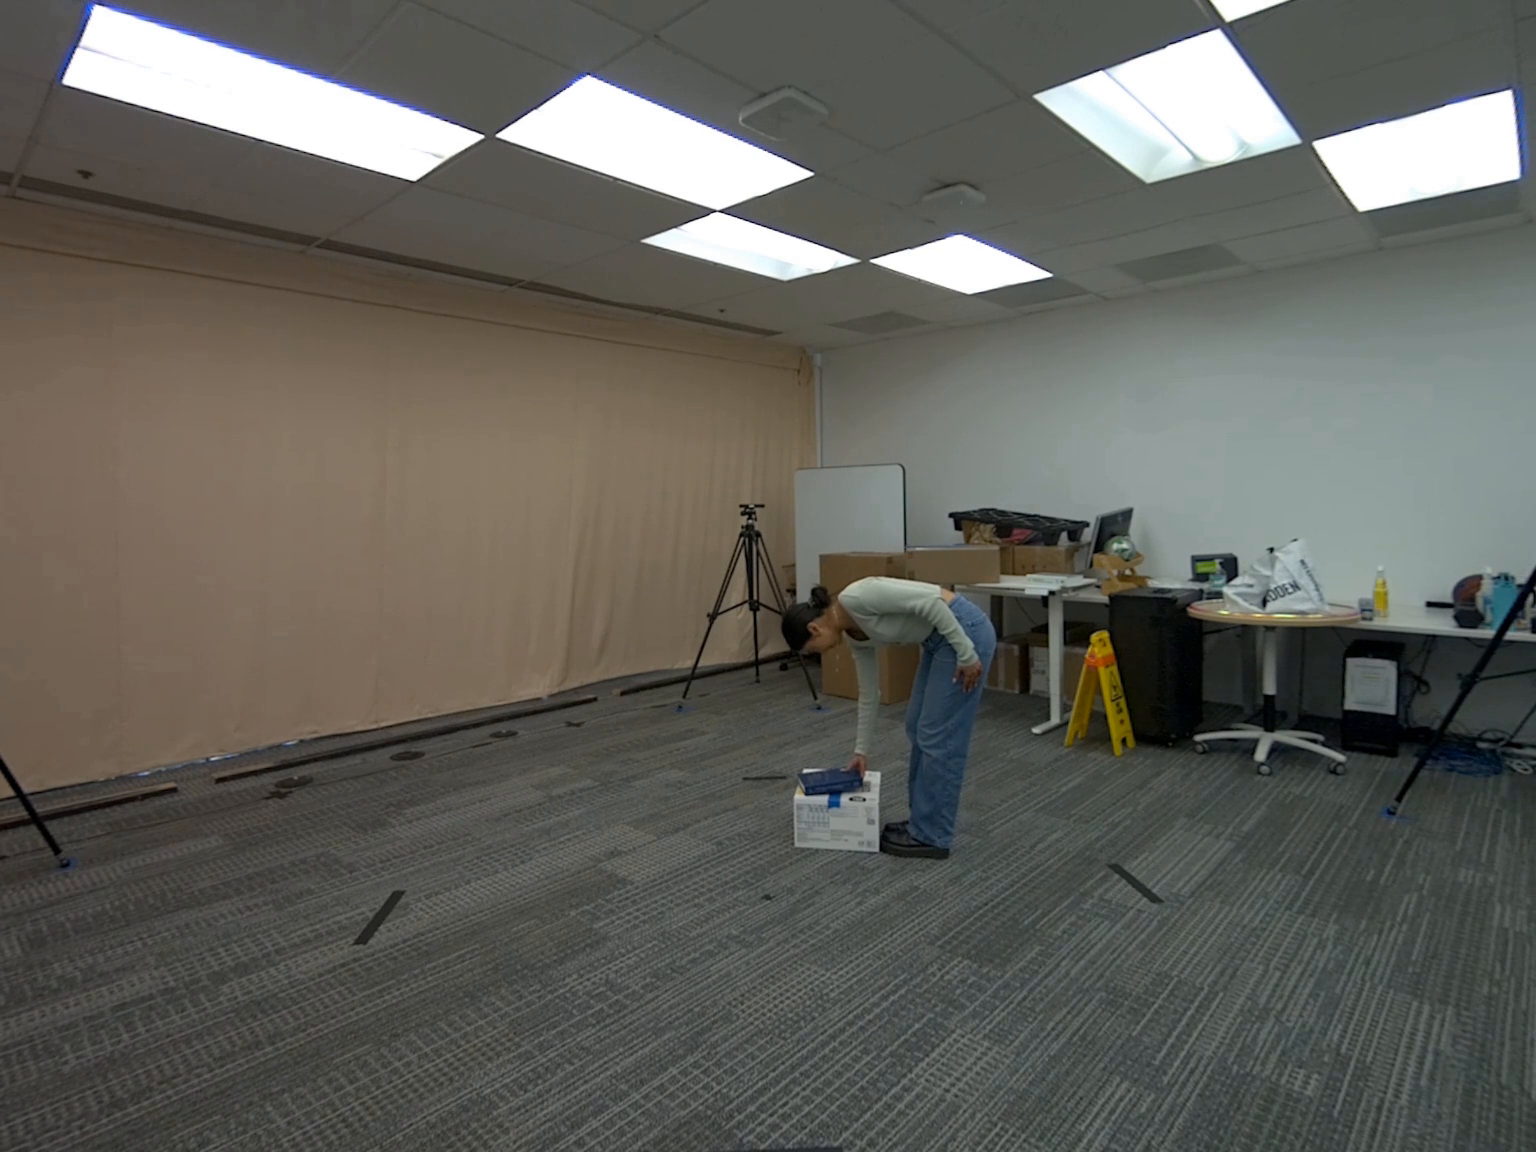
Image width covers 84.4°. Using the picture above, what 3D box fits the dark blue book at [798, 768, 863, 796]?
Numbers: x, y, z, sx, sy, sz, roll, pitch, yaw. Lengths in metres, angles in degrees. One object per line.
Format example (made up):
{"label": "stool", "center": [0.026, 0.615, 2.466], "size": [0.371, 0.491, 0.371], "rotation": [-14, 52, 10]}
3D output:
{"label": "dark blue book", "center": [0.262, 0.861, 3.520], "size": [0.244, 0.045, 0.164], "rotation": [-6, 4, -5]}
